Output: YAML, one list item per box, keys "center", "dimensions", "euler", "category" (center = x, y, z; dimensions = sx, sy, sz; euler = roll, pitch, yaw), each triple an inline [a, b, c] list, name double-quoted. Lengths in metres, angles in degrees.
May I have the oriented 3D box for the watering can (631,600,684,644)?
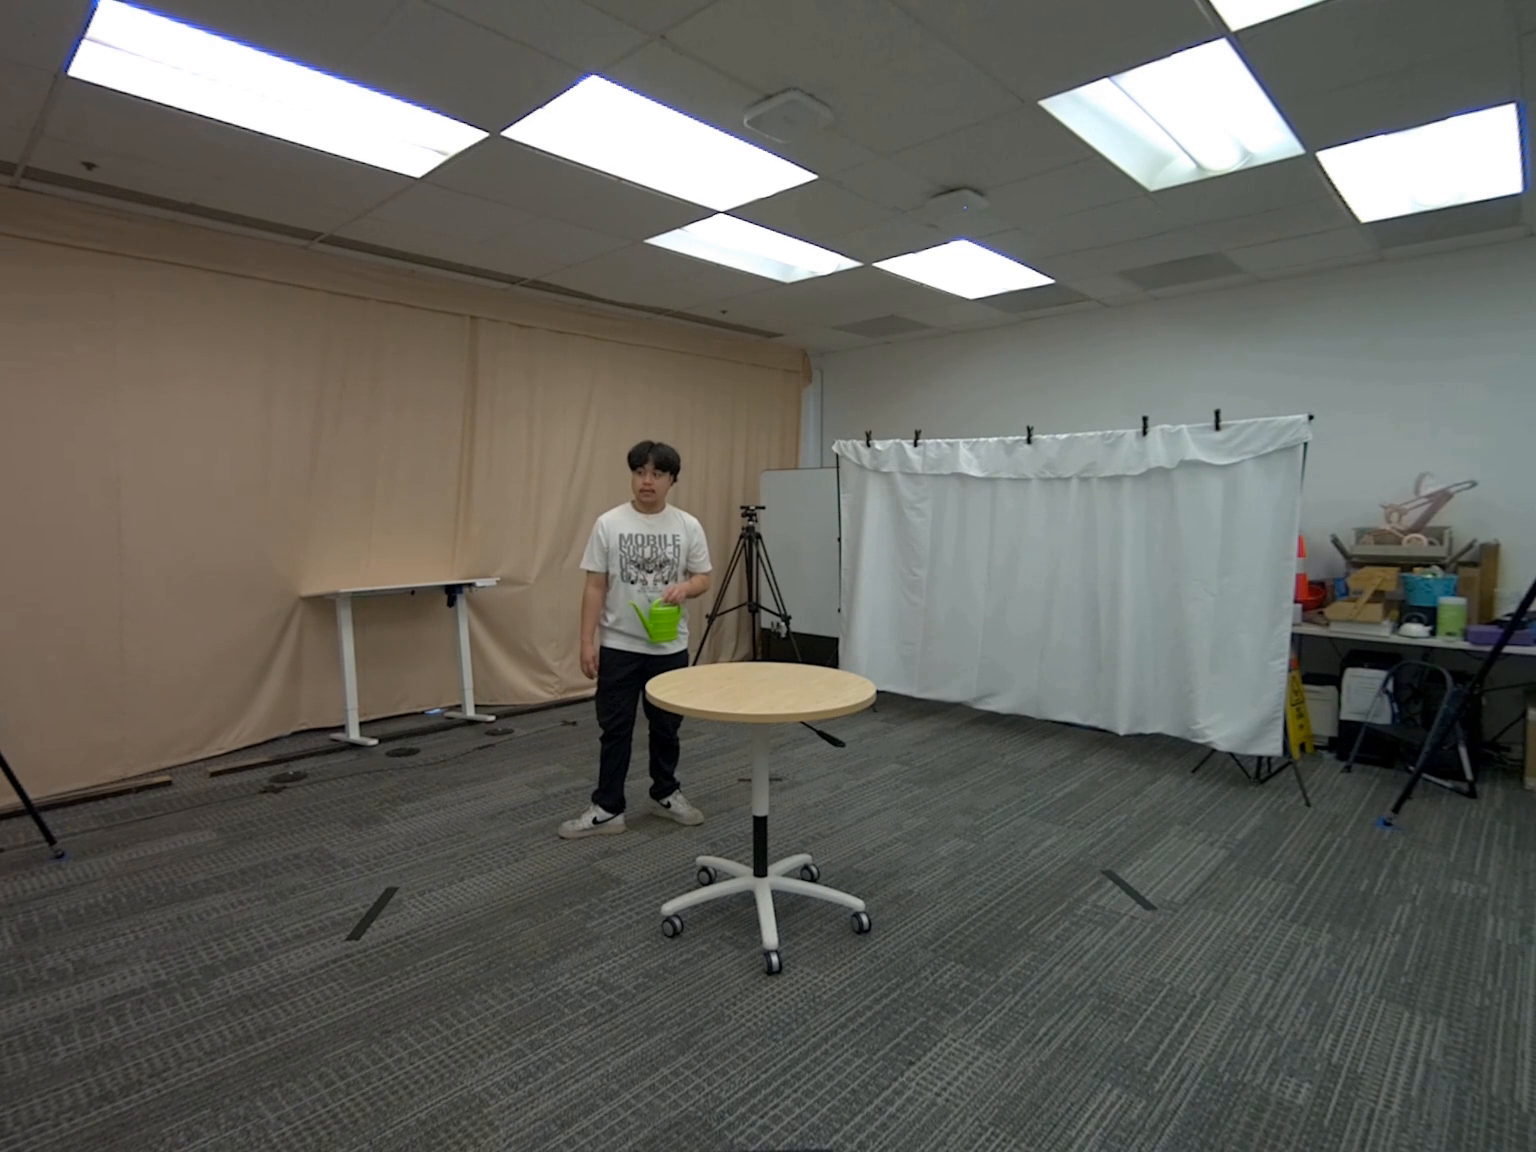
- center: [-0.459, 0.174, 3.364]
  dimensions: [0.270, 0.176, 0.101]
  euler: [-1, 7, -33]
  category: "watering can"
